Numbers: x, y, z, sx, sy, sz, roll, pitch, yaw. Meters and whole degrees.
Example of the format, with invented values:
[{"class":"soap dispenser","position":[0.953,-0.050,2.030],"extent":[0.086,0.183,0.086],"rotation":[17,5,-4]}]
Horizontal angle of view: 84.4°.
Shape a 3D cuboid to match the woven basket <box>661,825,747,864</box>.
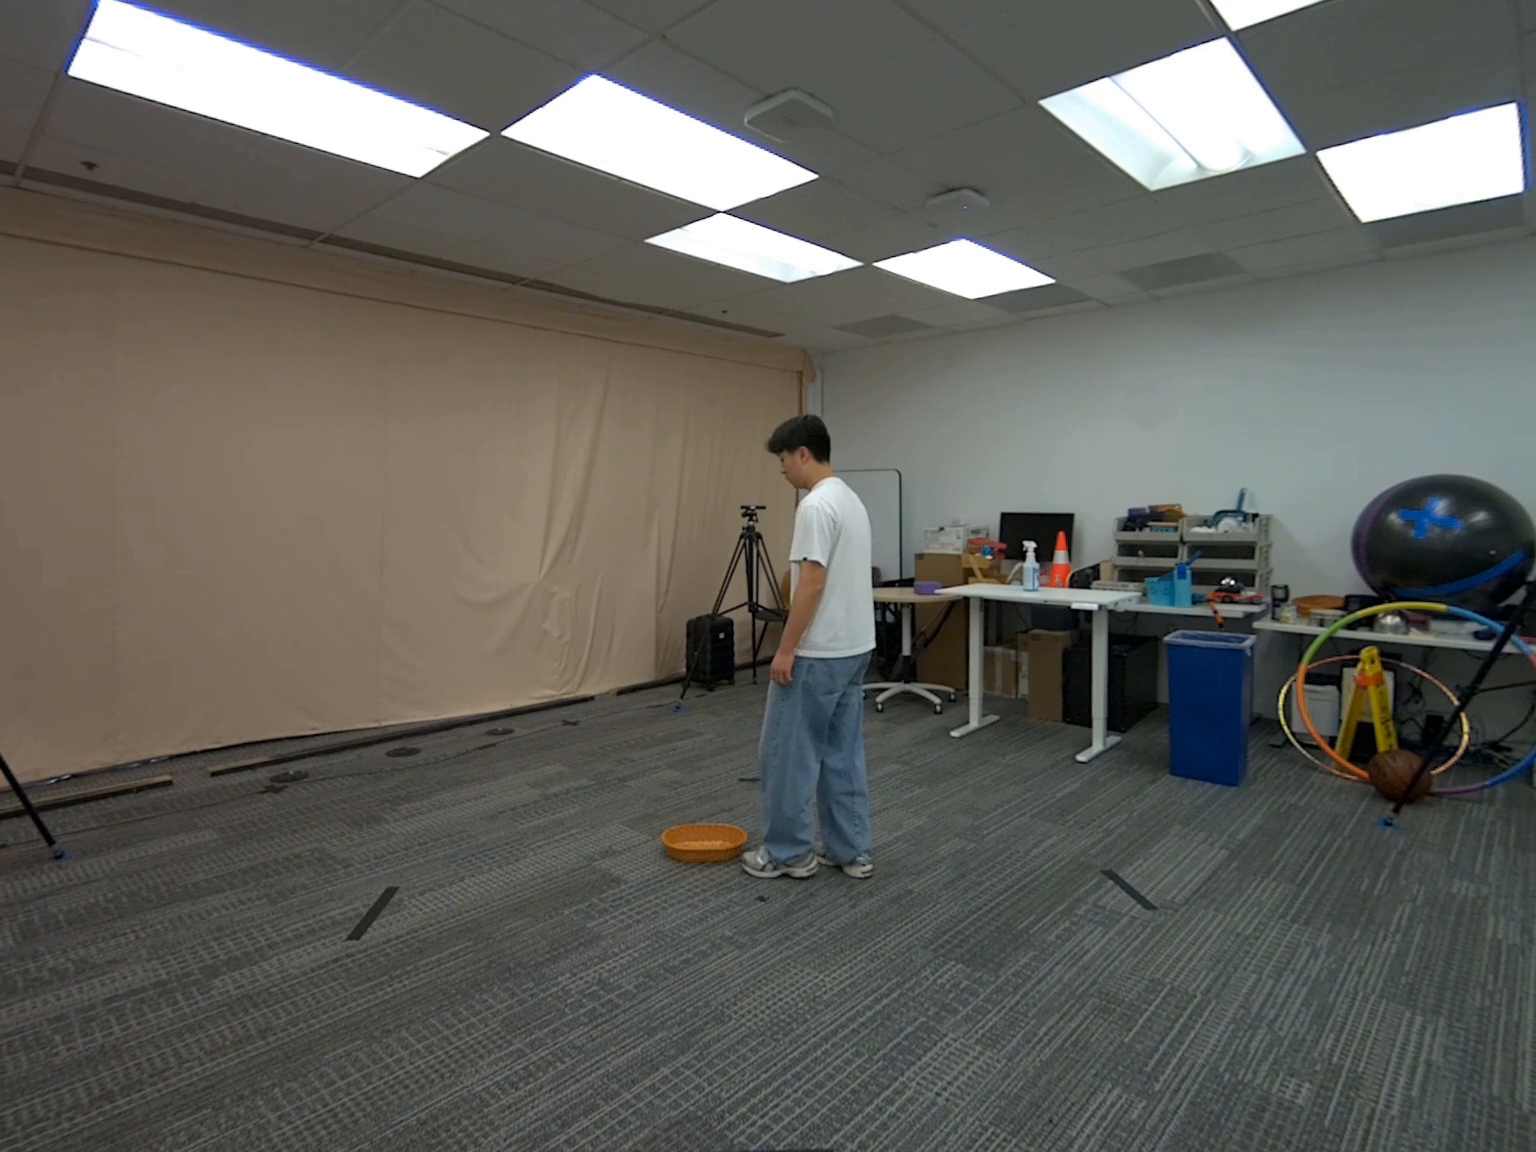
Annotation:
[{"class":"woven basket","position":[-0.254,1.072,3.381],"extent":[0.351,0.073,0.253],"rotation":[0,5,1]}]
